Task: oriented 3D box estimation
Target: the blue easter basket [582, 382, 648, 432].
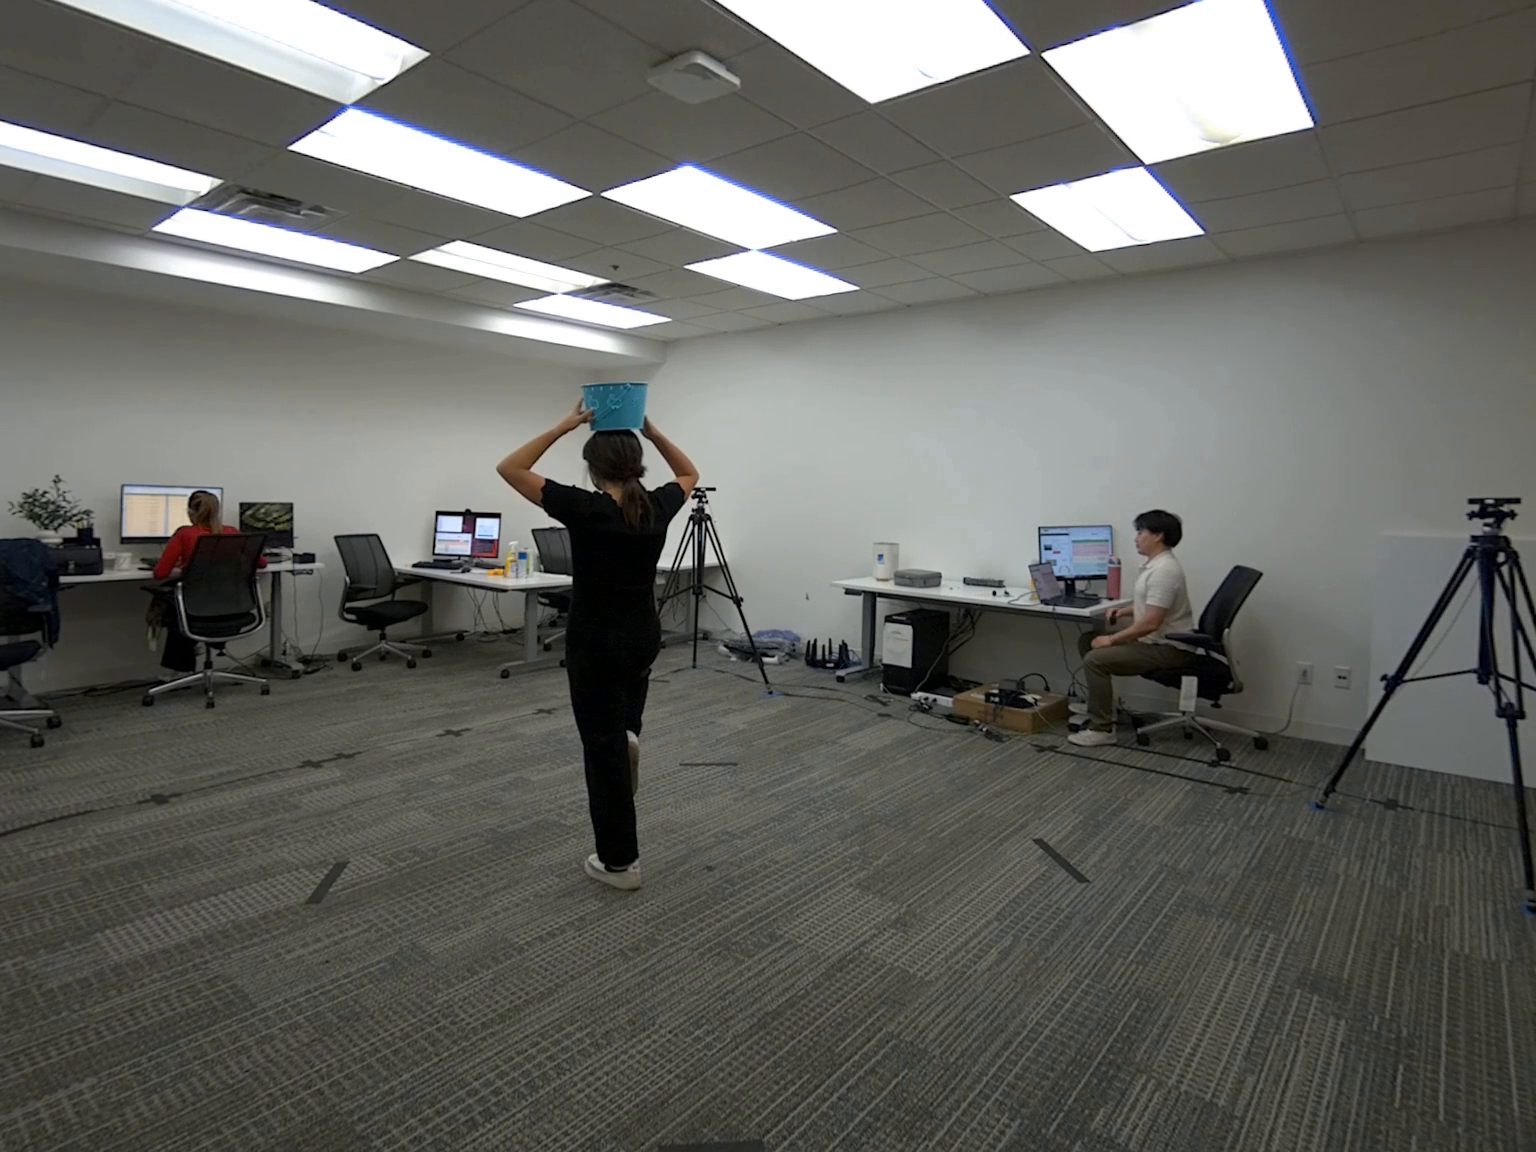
[{"bbox_3d":[-0.535,-0.576,2.879,0.243,0.155,0.246,-2,8,-2],"label":"blue easter basket"}]
